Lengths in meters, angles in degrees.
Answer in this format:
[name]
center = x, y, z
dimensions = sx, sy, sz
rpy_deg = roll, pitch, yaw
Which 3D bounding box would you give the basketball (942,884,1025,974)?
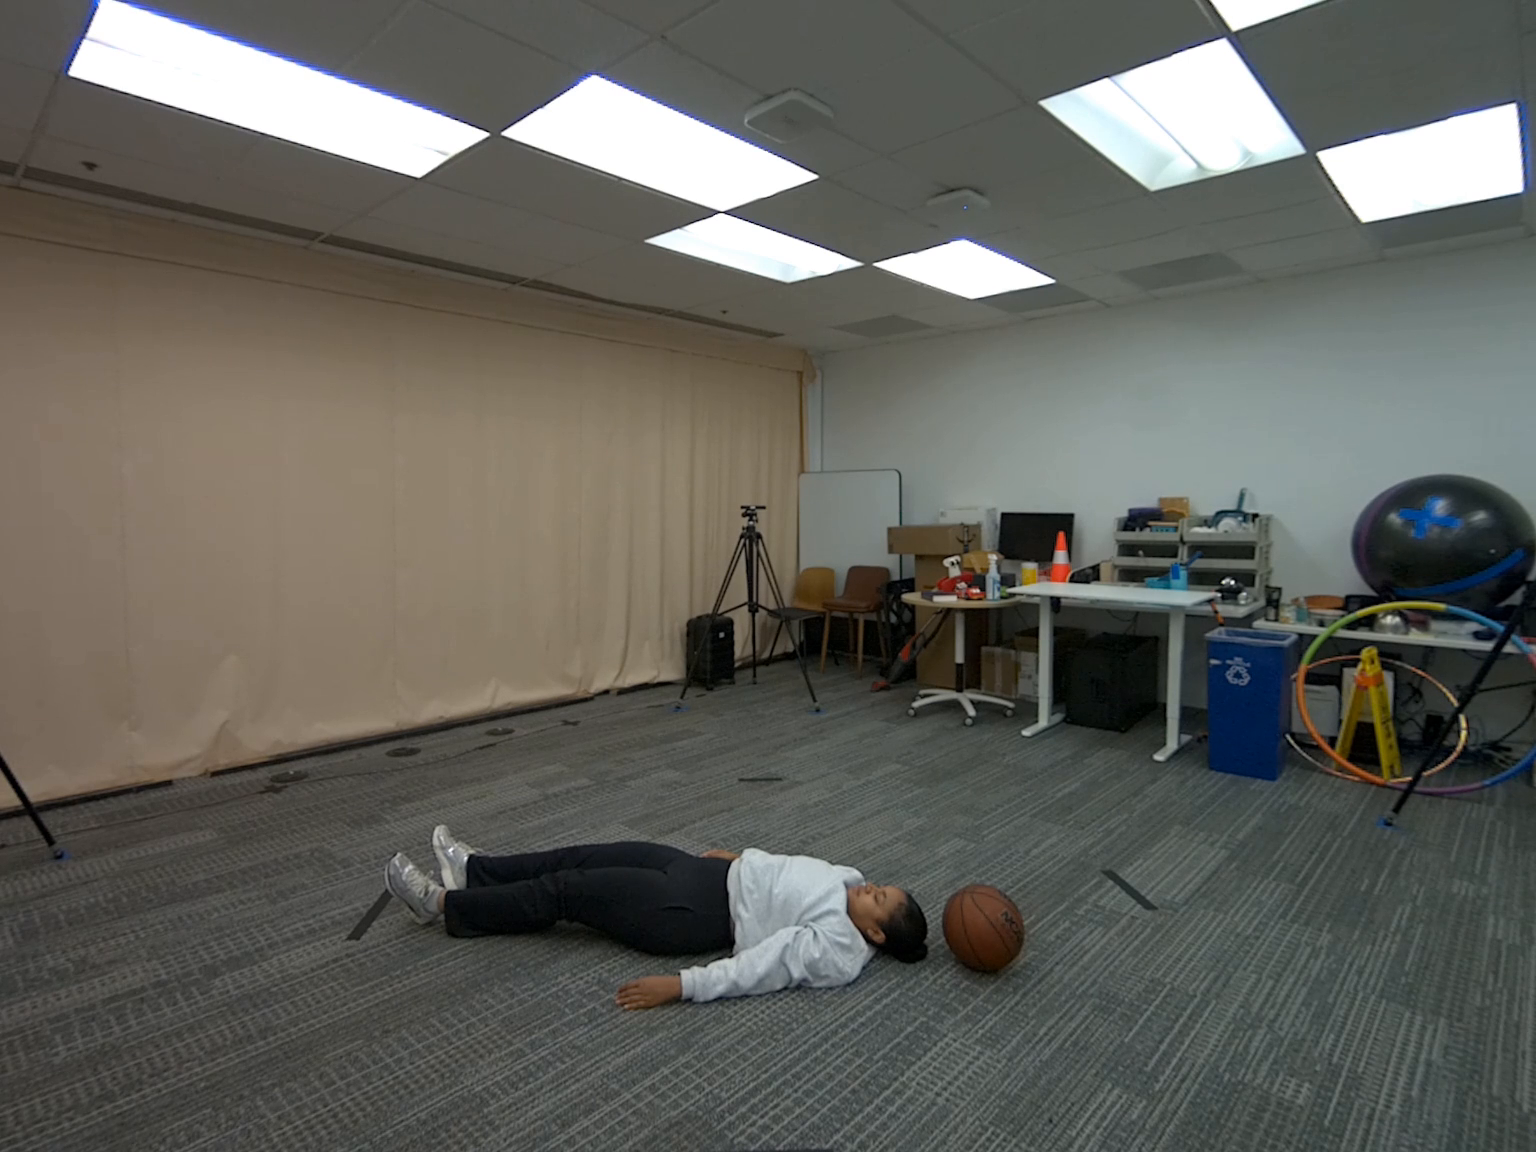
[basketball]
center = 0.658, 1.058, 2.543
dimensions = 0.236, 0.236, 0.236
rpy_deg = 2, 0, -2
